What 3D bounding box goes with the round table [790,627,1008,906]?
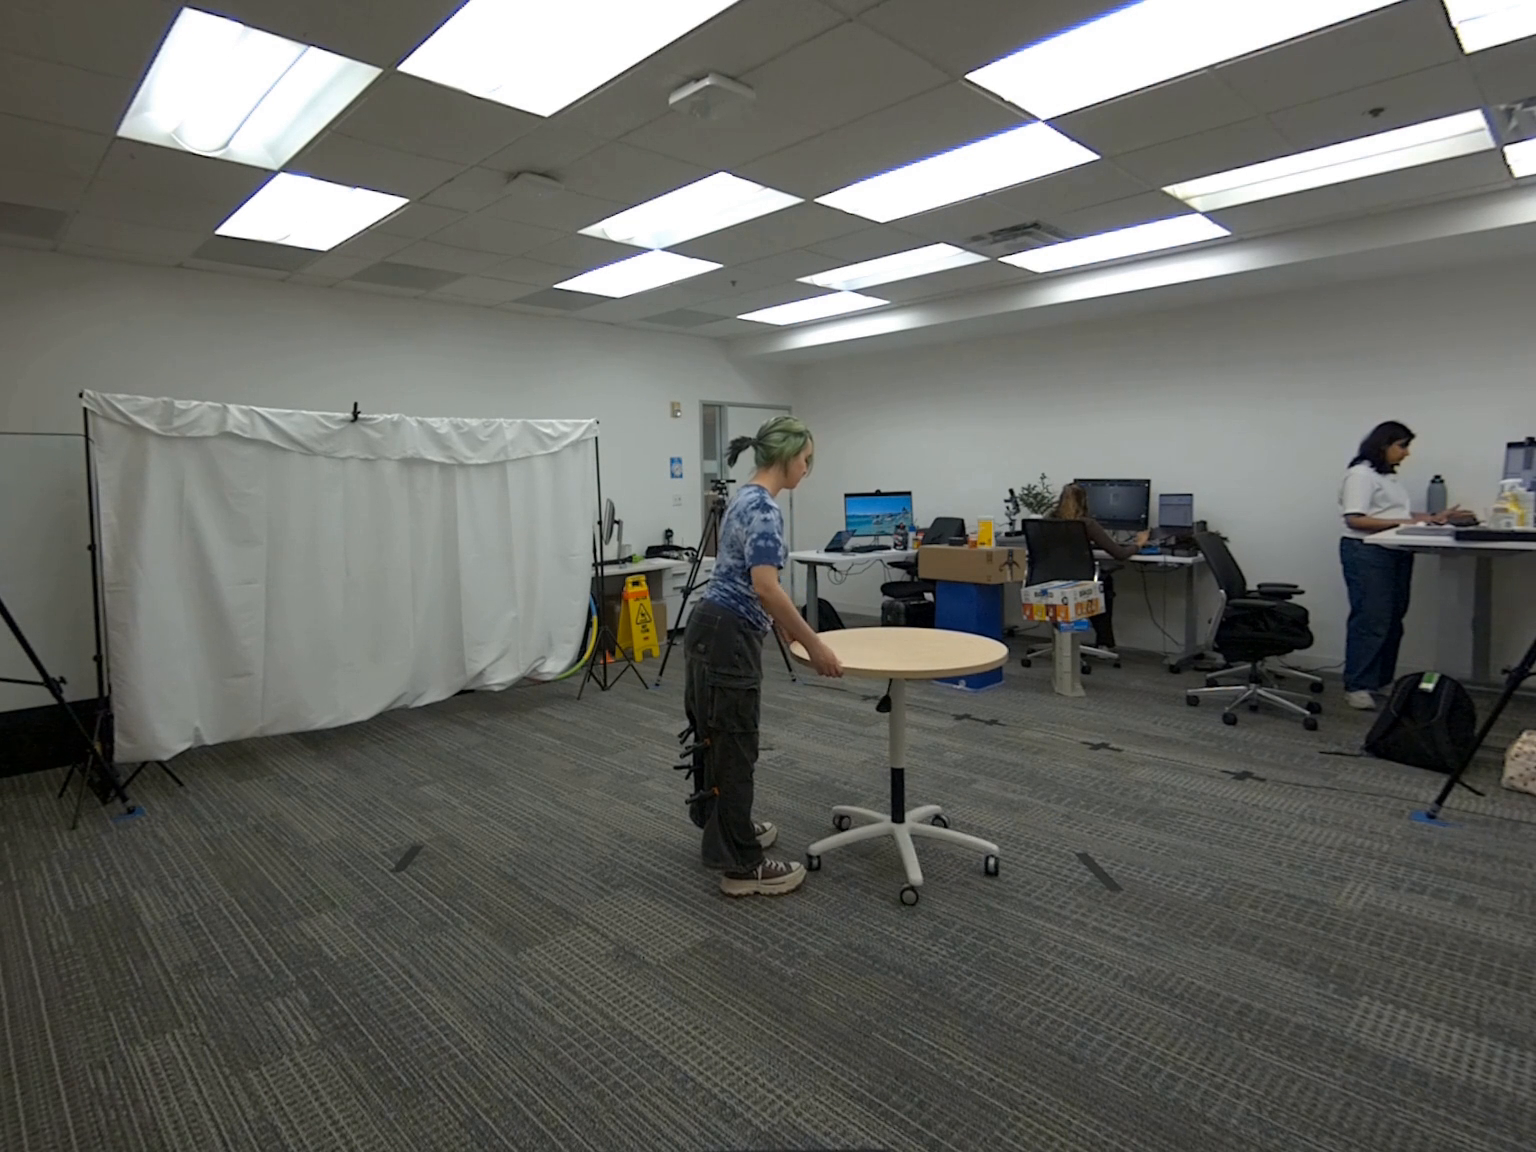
[{"bbox_3d":[0.477,0.648,3.099,0.763,0.791,0.768,-1,5,-2],"label":"round table"}]
